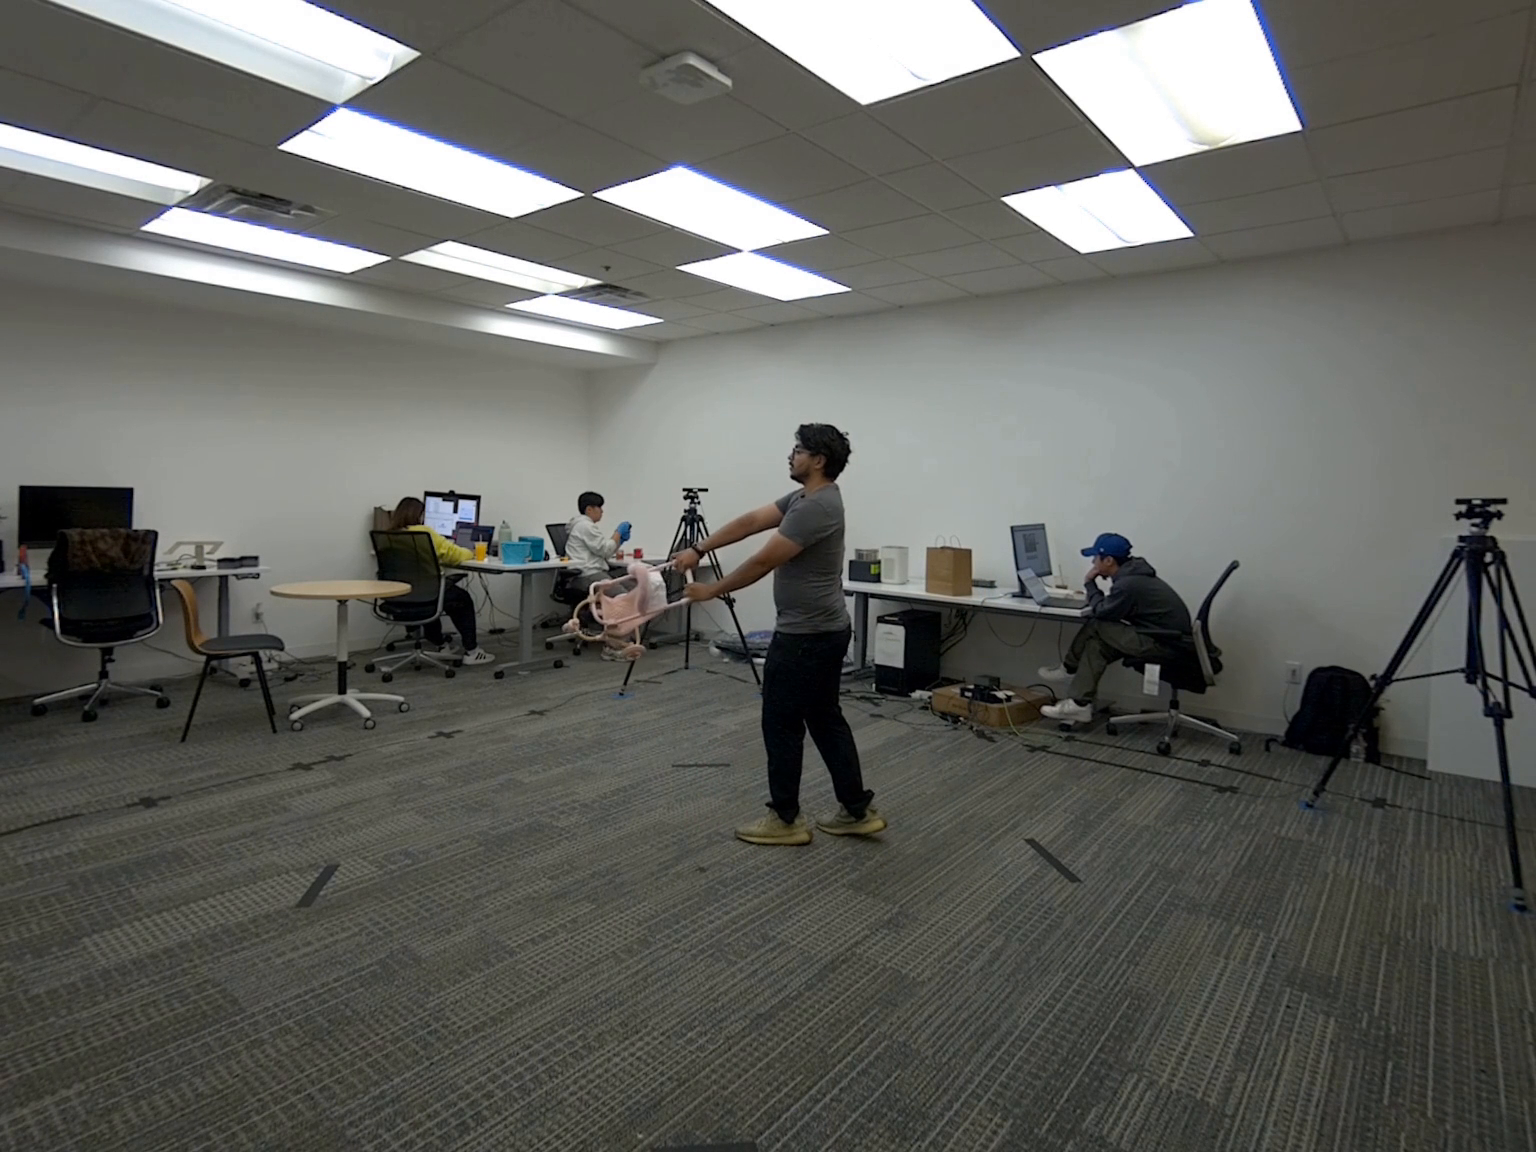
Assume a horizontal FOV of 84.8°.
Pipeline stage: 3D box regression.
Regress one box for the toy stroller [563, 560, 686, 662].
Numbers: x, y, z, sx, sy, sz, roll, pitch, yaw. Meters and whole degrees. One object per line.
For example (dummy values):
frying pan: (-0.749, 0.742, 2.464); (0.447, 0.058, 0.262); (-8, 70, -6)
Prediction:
toy stroller: (-0.604, 0.117, 3.505); (0.329, 0.290, 0.537); (16, -41, -34)
